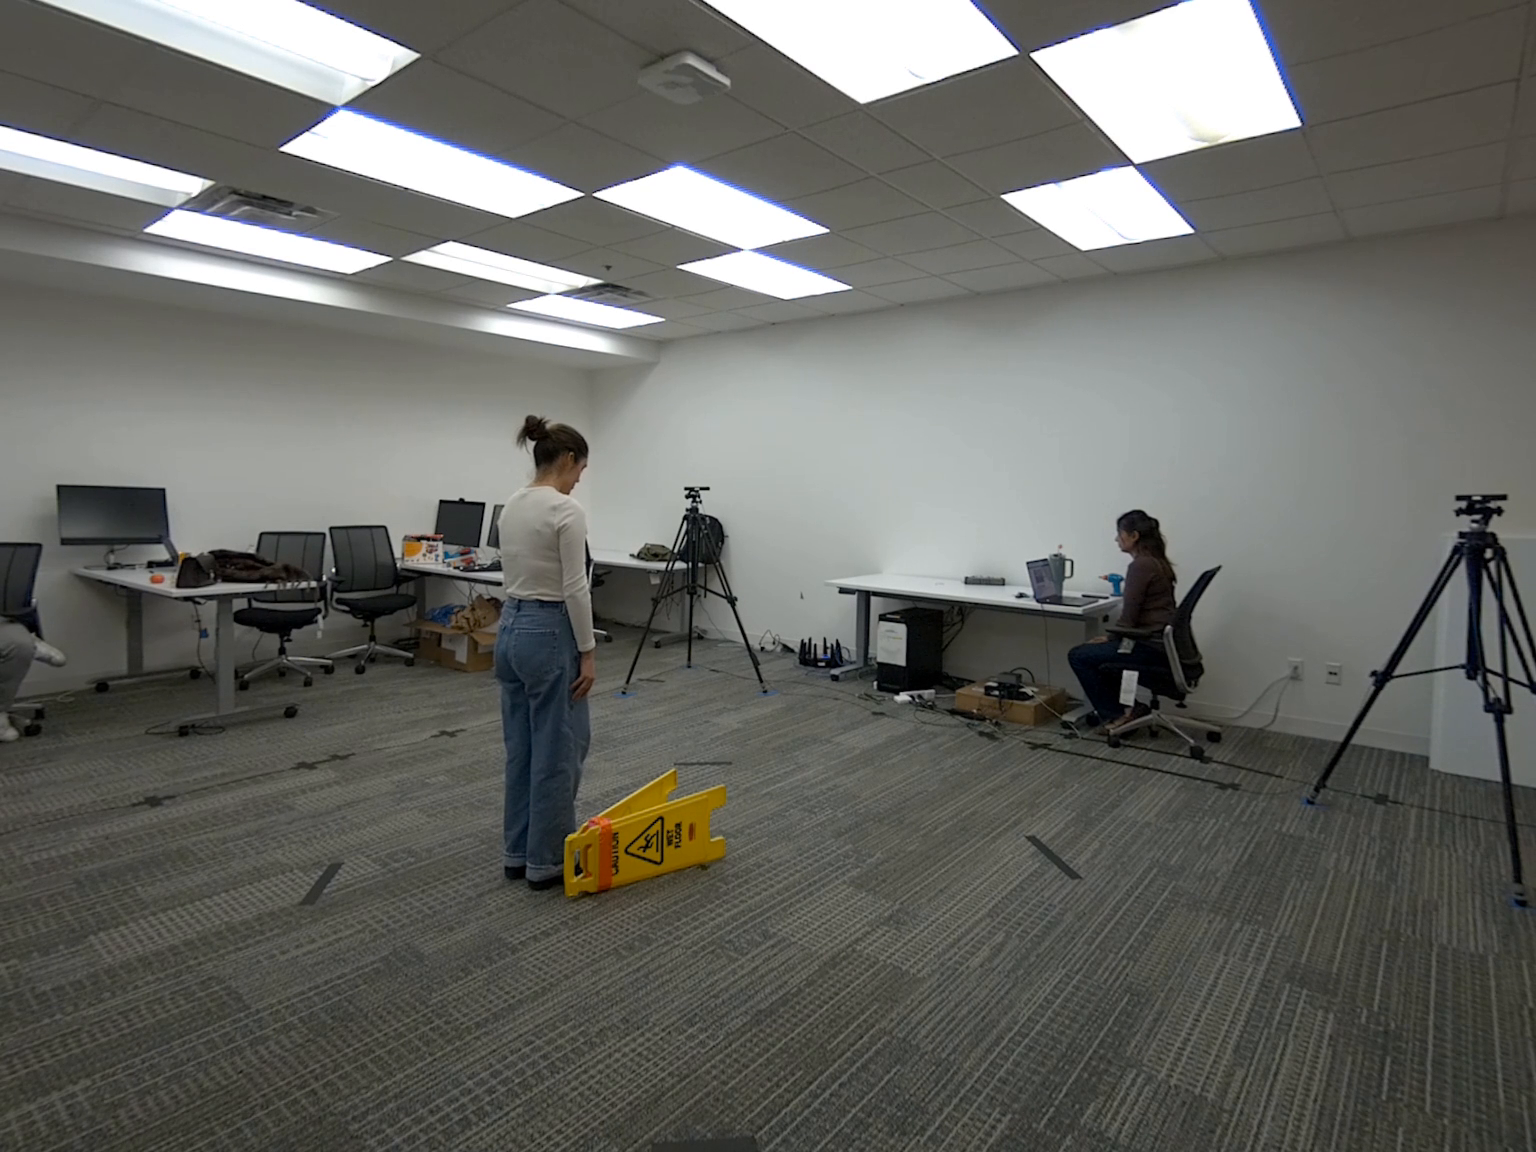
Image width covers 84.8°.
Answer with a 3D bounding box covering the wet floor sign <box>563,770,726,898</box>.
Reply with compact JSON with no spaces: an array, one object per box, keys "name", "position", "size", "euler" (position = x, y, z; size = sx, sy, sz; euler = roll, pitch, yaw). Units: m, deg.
[{"name":"wet floor sign","position":[-0.473,0.939,3.054],"size":[0.299,0.281,0.628],"euler":[3,7,40]}]
